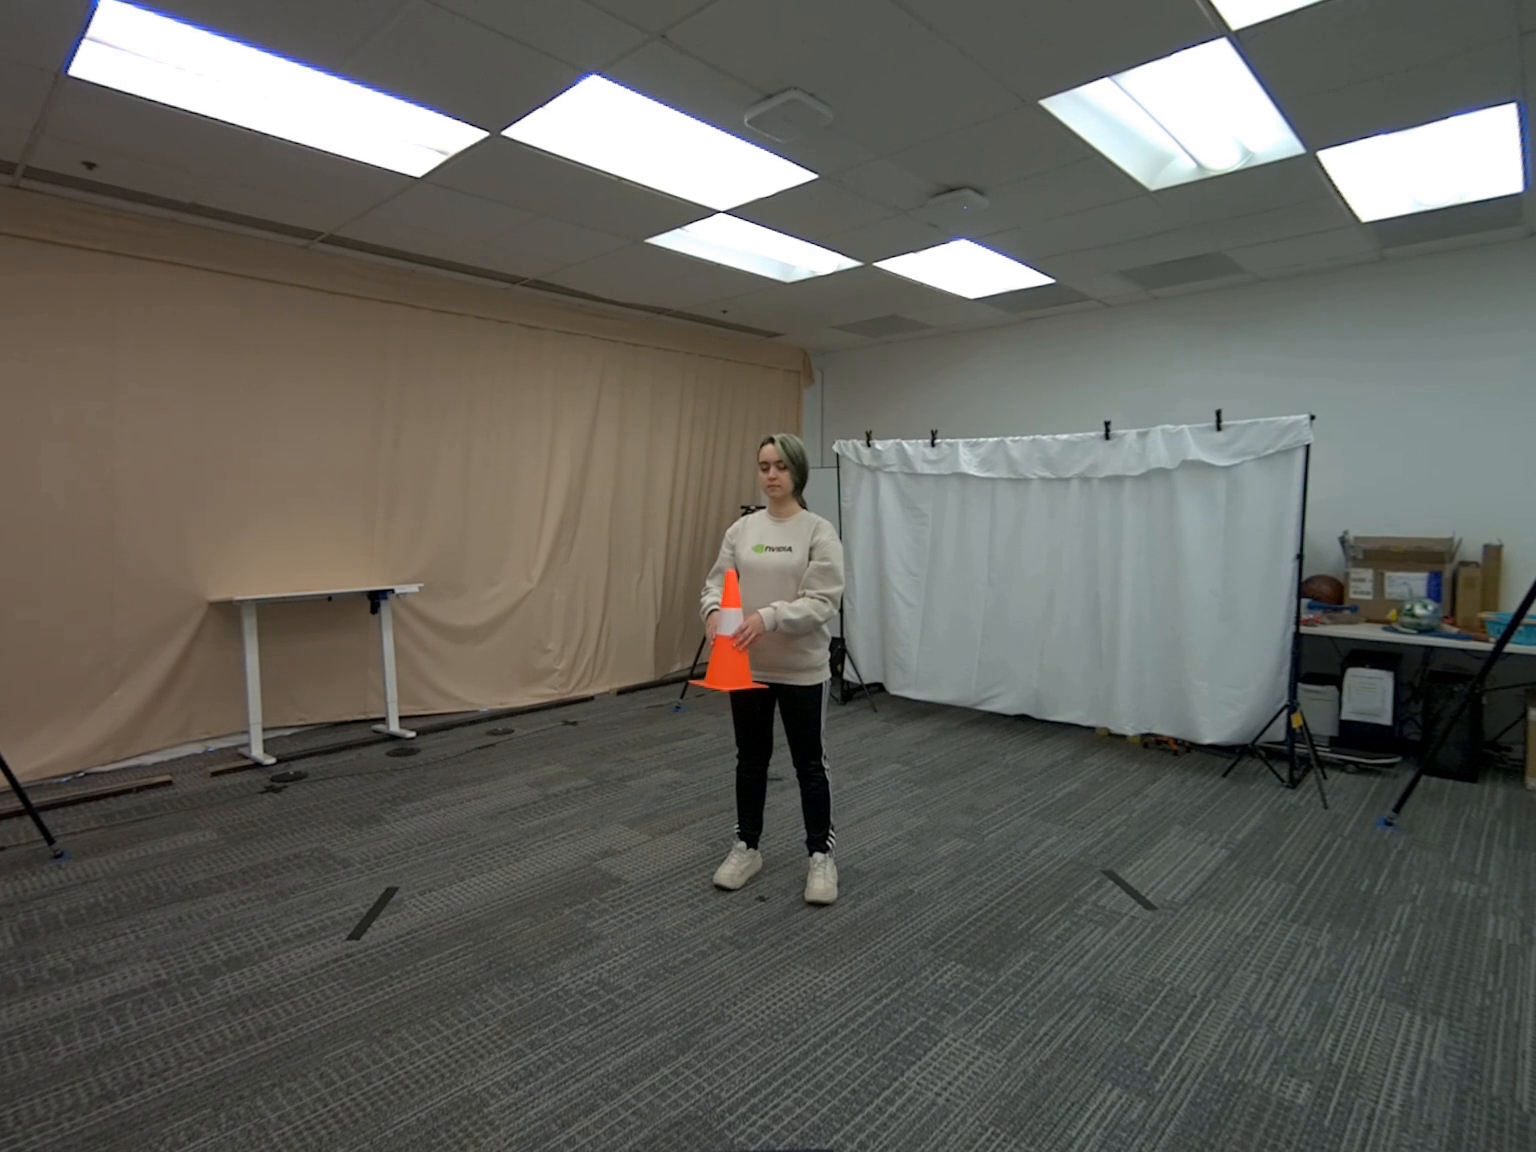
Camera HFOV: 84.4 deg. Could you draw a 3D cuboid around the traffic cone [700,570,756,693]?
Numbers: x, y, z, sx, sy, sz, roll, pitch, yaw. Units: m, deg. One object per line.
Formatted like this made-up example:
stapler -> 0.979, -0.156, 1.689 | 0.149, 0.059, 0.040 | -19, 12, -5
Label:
traffic cone -> -0.124, 0.174, 2.805 | 0.212, 0.384, 0.197 | 1, 0, 43
